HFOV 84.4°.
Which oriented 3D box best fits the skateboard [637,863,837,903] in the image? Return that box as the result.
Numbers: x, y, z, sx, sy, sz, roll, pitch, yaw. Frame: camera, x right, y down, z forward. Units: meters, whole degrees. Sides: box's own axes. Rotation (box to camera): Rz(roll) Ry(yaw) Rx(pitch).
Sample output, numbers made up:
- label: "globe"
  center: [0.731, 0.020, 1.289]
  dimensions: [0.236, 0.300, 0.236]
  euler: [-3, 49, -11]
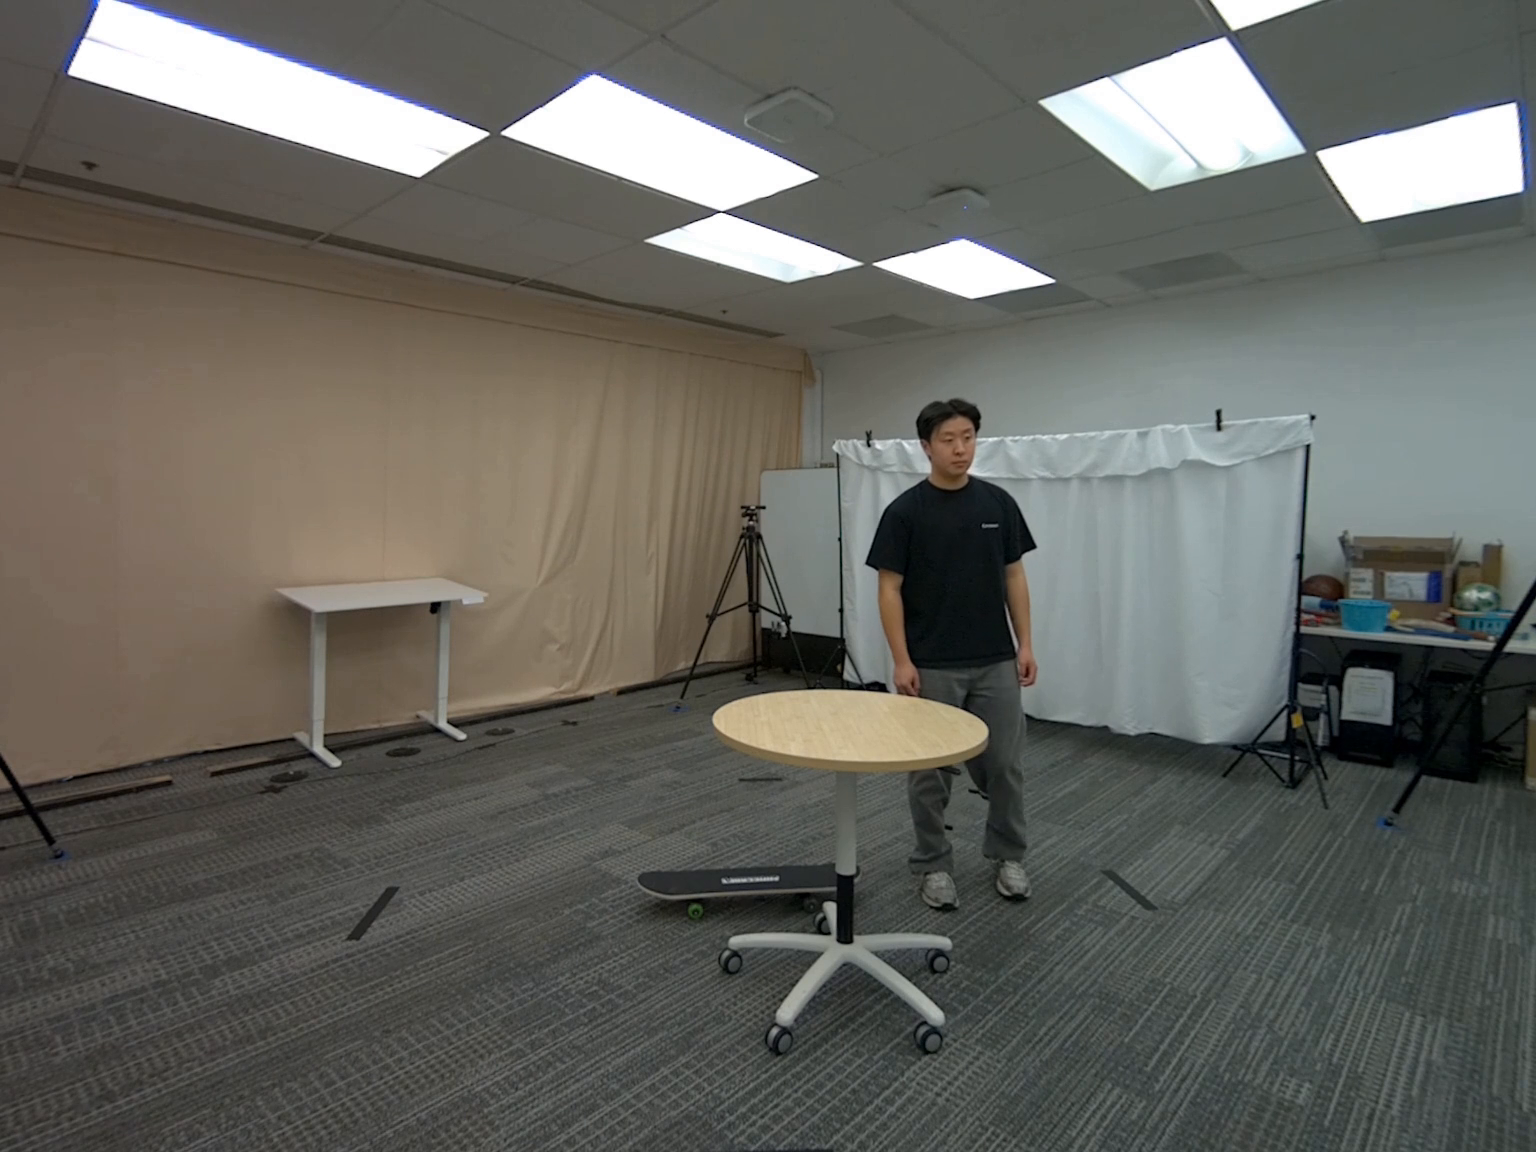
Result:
- label: "skateboard"
  center: [-0.059, 1.094, 2.944]
  dimensions: [0.779, 0.110, 0.195]
  euler: [0, 4, -7]
